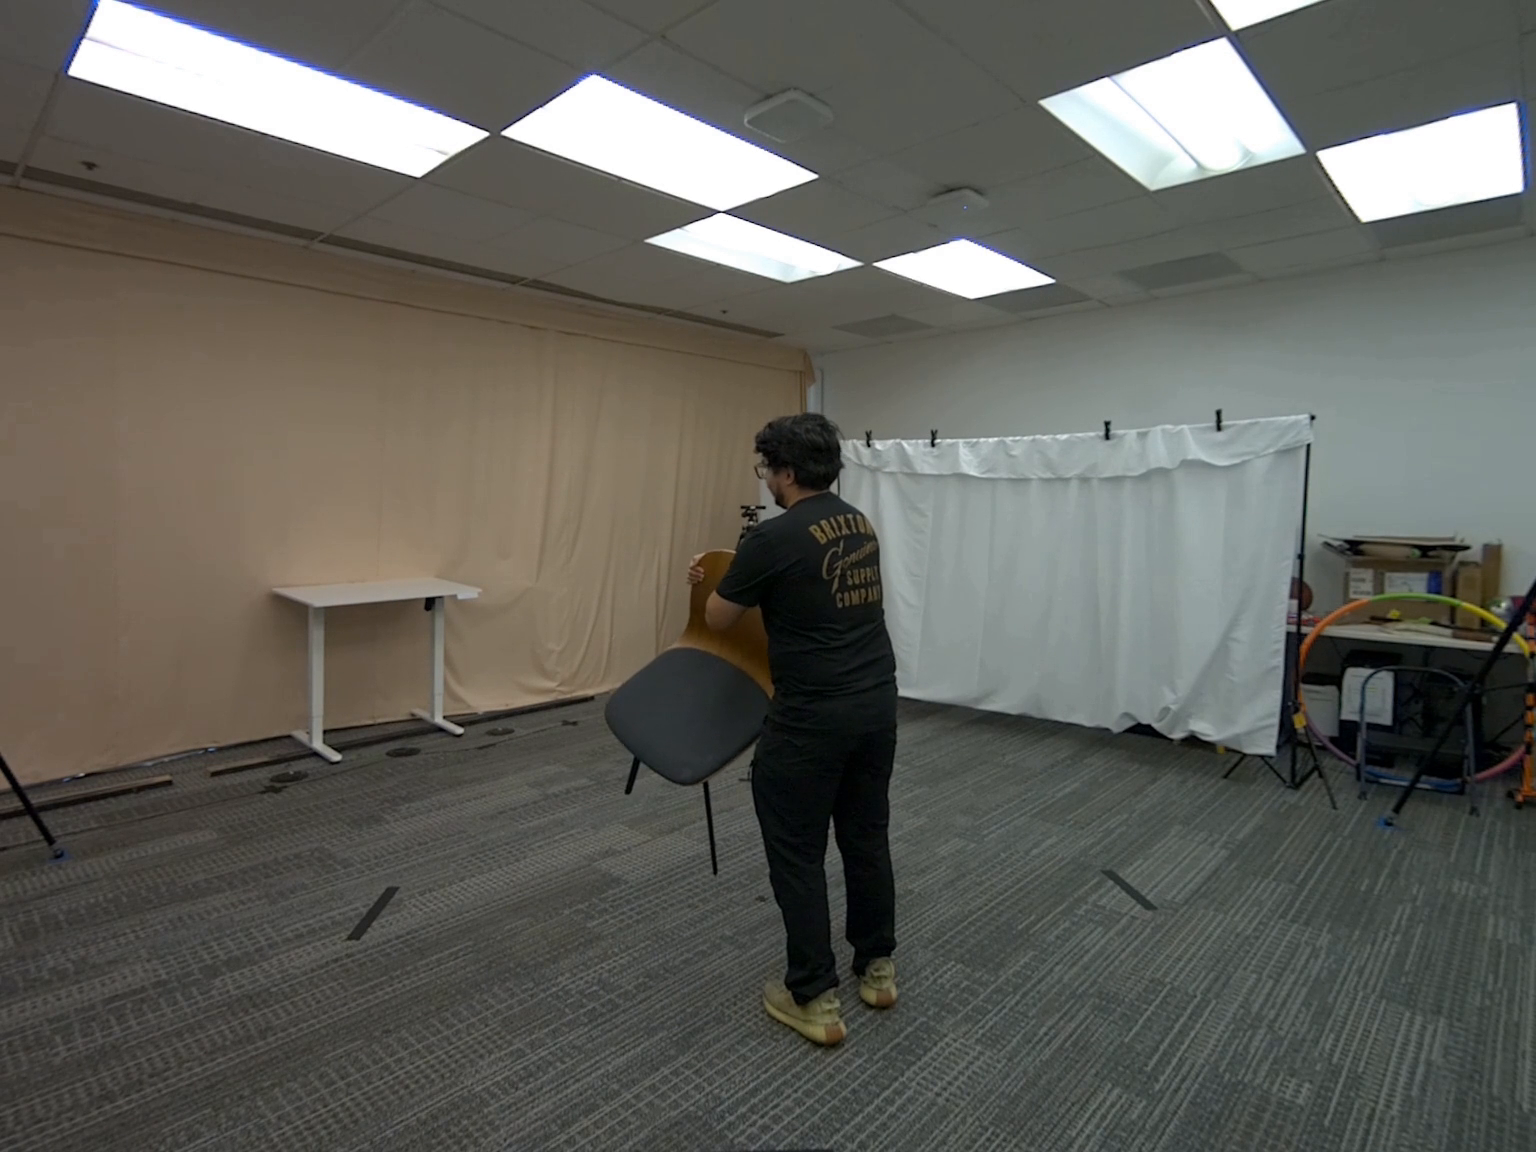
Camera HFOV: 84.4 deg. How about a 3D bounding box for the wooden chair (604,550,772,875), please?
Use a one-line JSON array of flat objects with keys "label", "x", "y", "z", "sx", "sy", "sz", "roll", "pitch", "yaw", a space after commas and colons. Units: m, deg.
[{"label": "wooden chair", "x": -0.207, "y": 0.423, "z": 2.624, "sx": 0.495, "sy": 0.861, "sz": 0.515, "roll": 30, "pitch": 47, "yaw": 33}]
